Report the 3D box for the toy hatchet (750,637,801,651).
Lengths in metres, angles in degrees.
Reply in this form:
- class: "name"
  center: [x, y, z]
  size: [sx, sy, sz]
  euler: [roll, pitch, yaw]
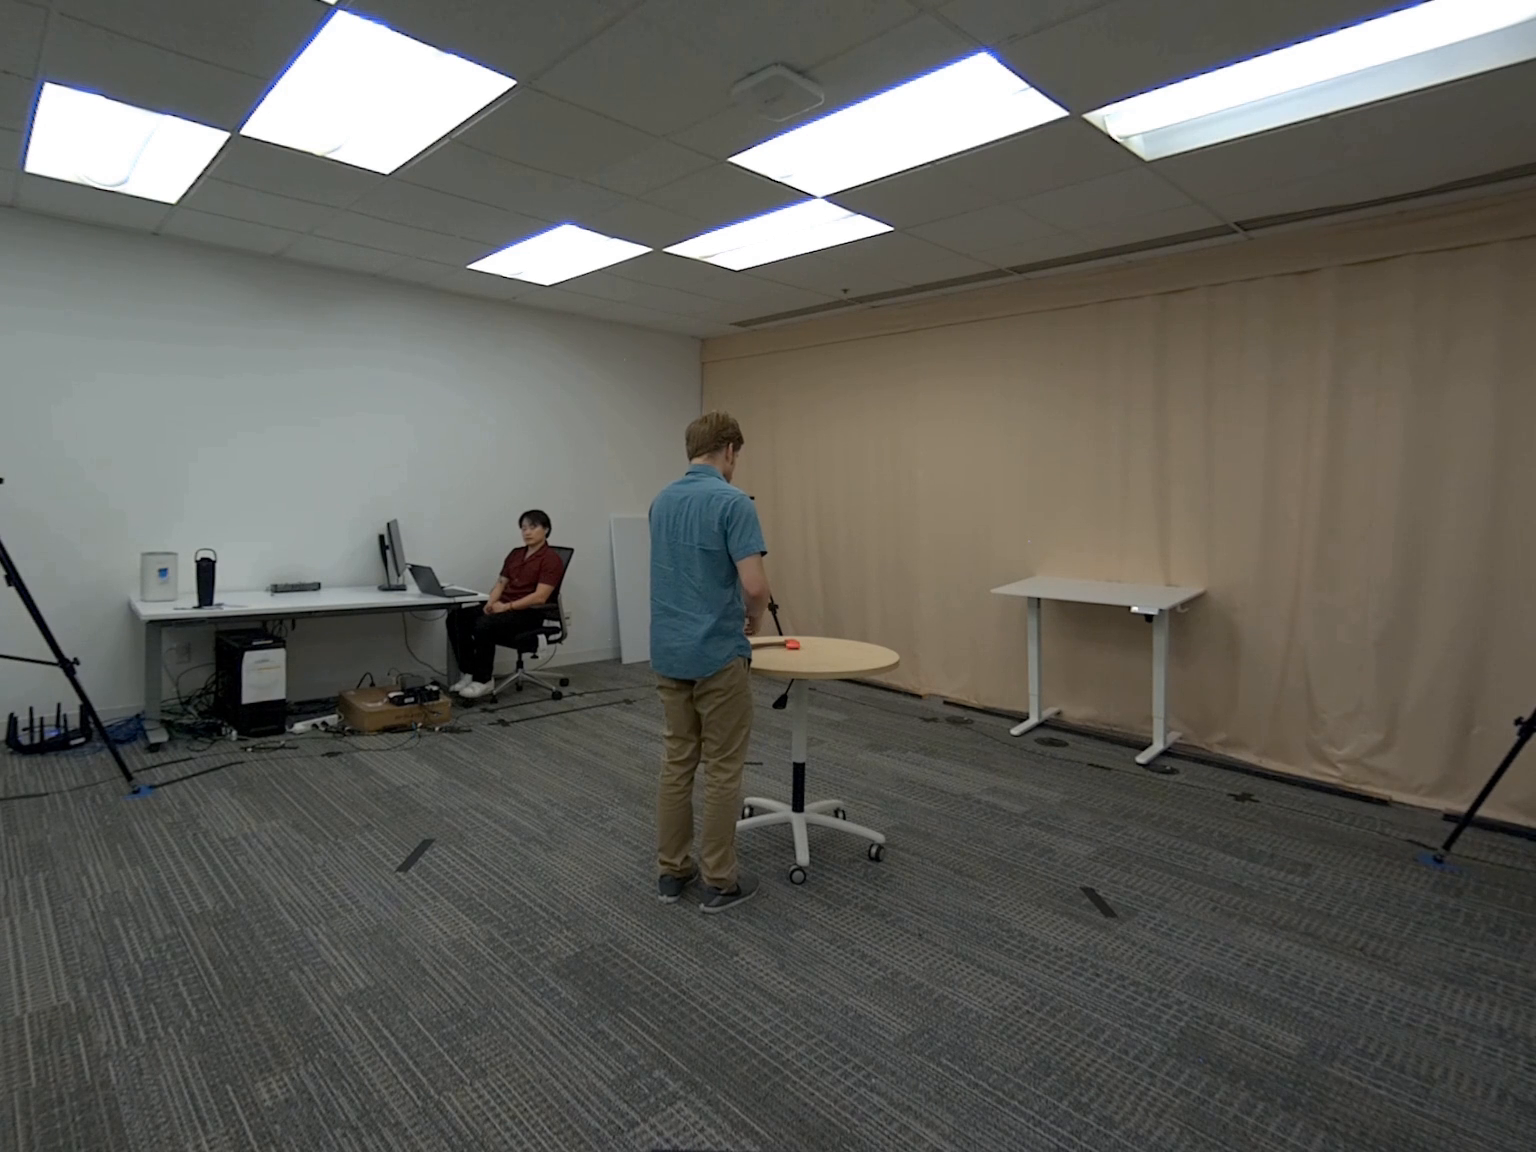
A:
- class: "toy hatchet"
  center: [0.013, 0.289, 3.402]
  size: [0.264, 0.029, 0.135]
  euler: [-7, 13, -41]
